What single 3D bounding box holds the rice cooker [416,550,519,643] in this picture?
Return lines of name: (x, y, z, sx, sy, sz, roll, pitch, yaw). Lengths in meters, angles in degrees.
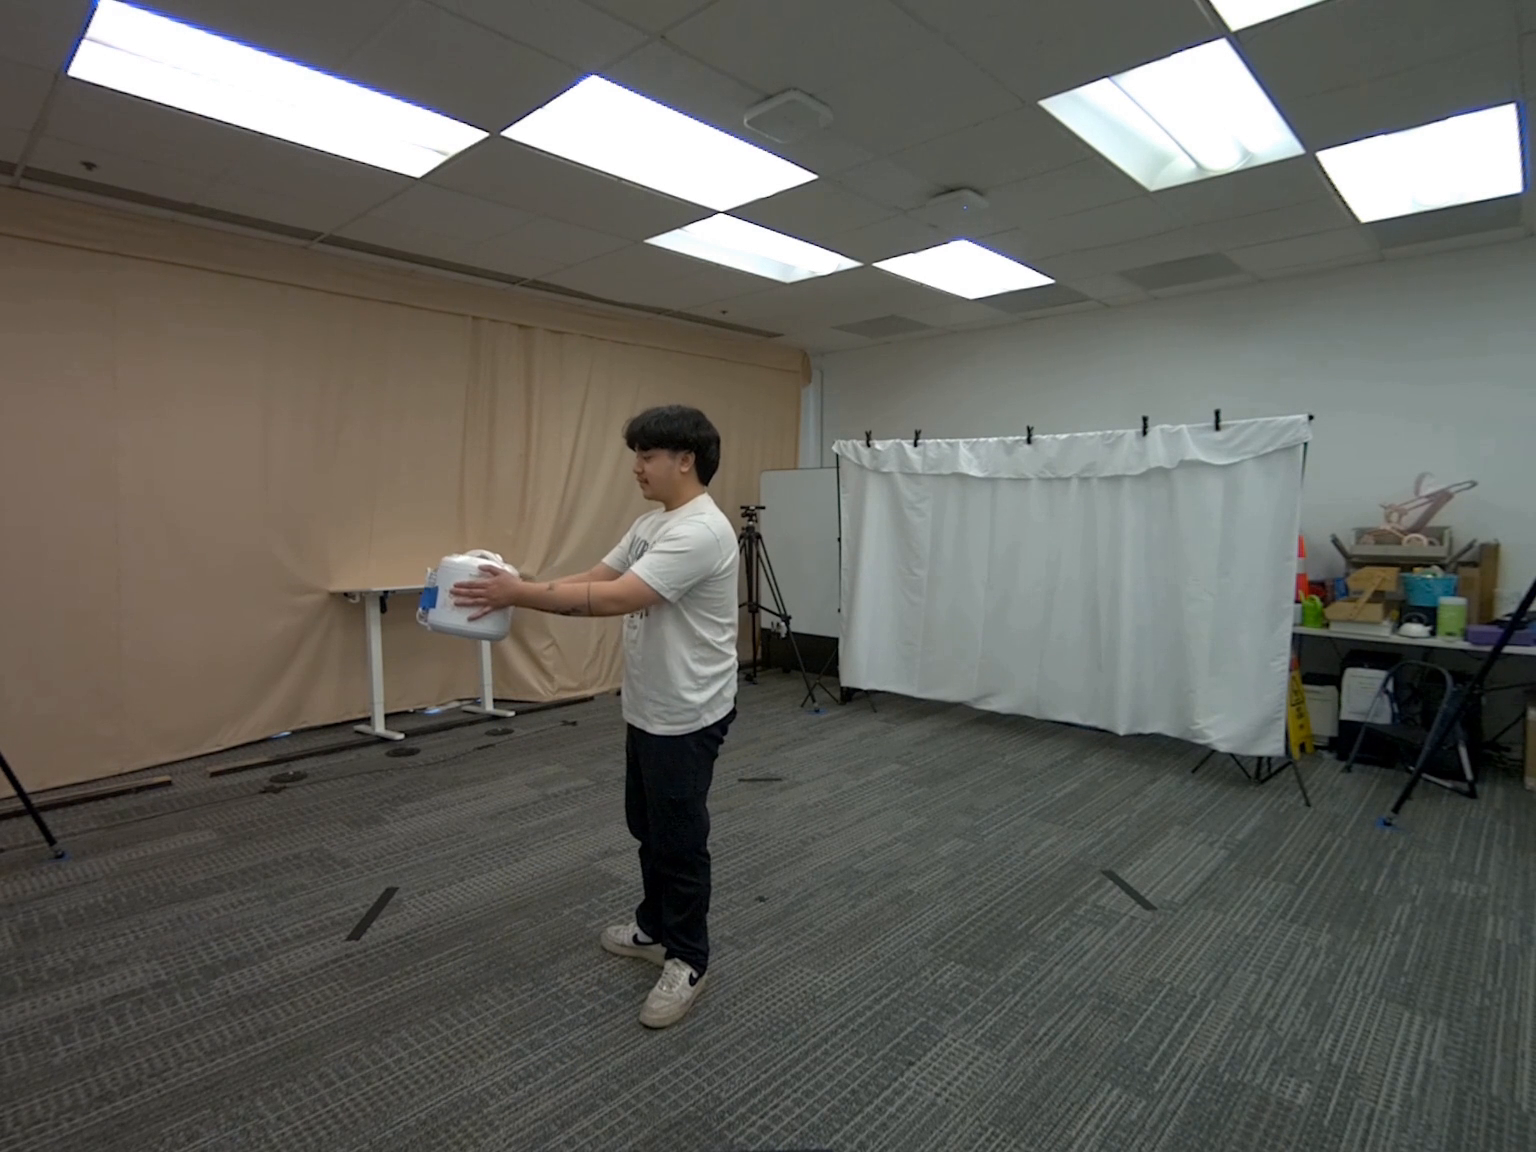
rice cooker: (-0.769, 0.052, 2.210, 0.228, 0.233, 0.210, 6, -7, 36)
